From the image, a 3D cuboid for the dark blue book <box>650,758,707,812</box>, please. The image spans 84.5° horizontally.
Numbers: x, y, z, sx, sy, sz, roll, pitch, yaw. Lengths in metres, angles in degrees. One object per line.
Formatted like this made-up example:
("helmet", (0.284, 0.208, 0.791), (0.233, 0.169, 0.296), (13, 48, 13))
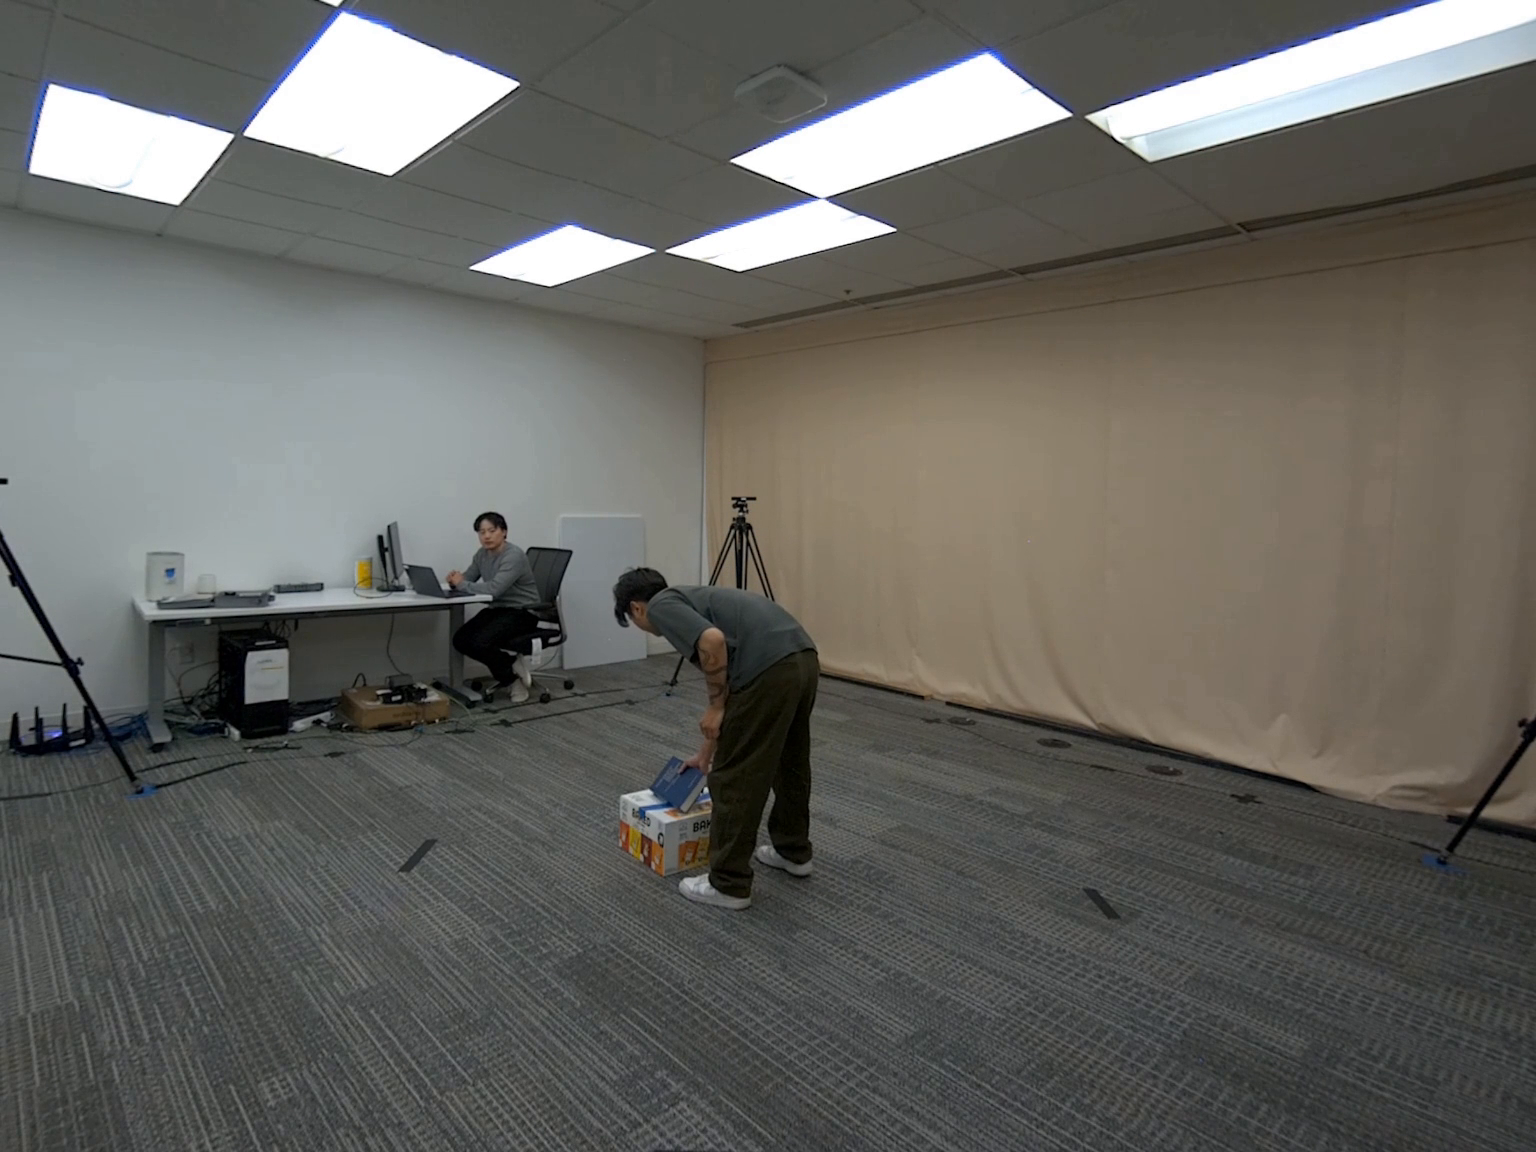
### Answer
("dark blue book", (-0.359, 0.818, 3.307), (0.044, 0.163, 0.251), (49, -19, -28))
